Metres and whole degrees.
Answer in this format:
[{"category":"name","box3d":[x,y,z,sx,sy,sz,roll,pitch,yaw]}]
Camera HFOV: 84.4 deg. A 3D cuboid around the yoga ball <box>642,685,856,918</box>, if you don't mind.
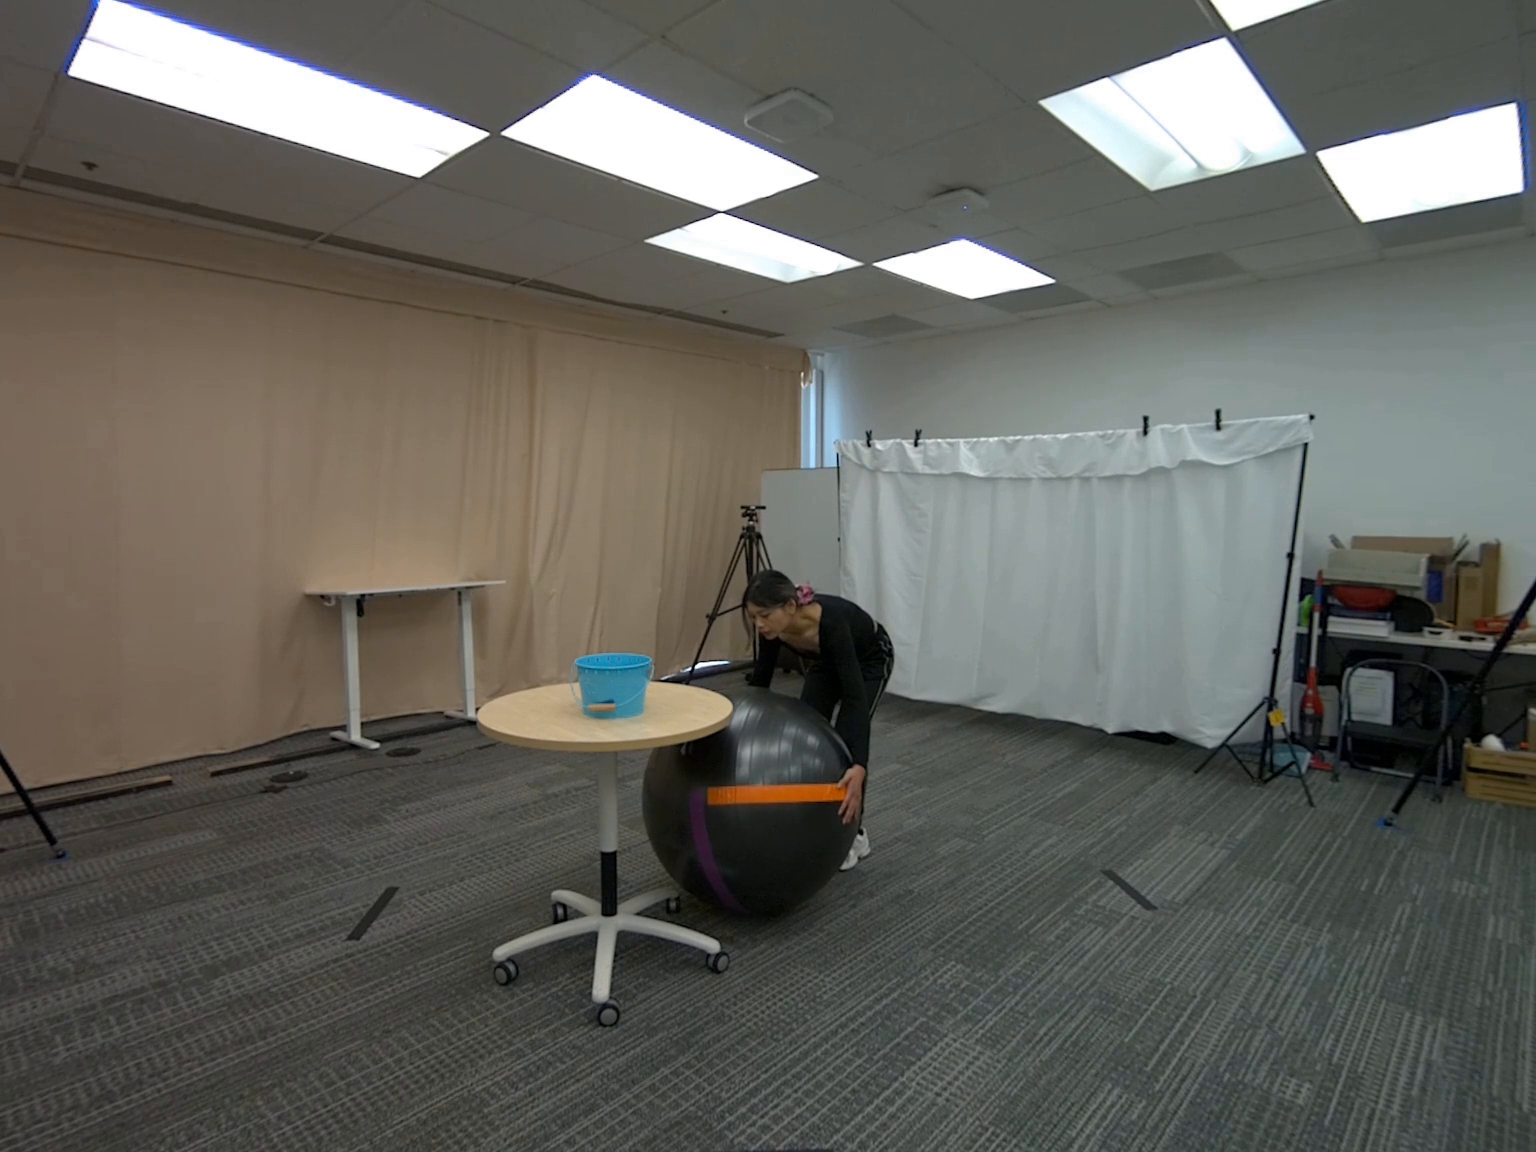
[{"category":"yoga ball","box3d":[-0.069,0.777,2.940,0.757,0.756,0.760,0,4,-2]}]
